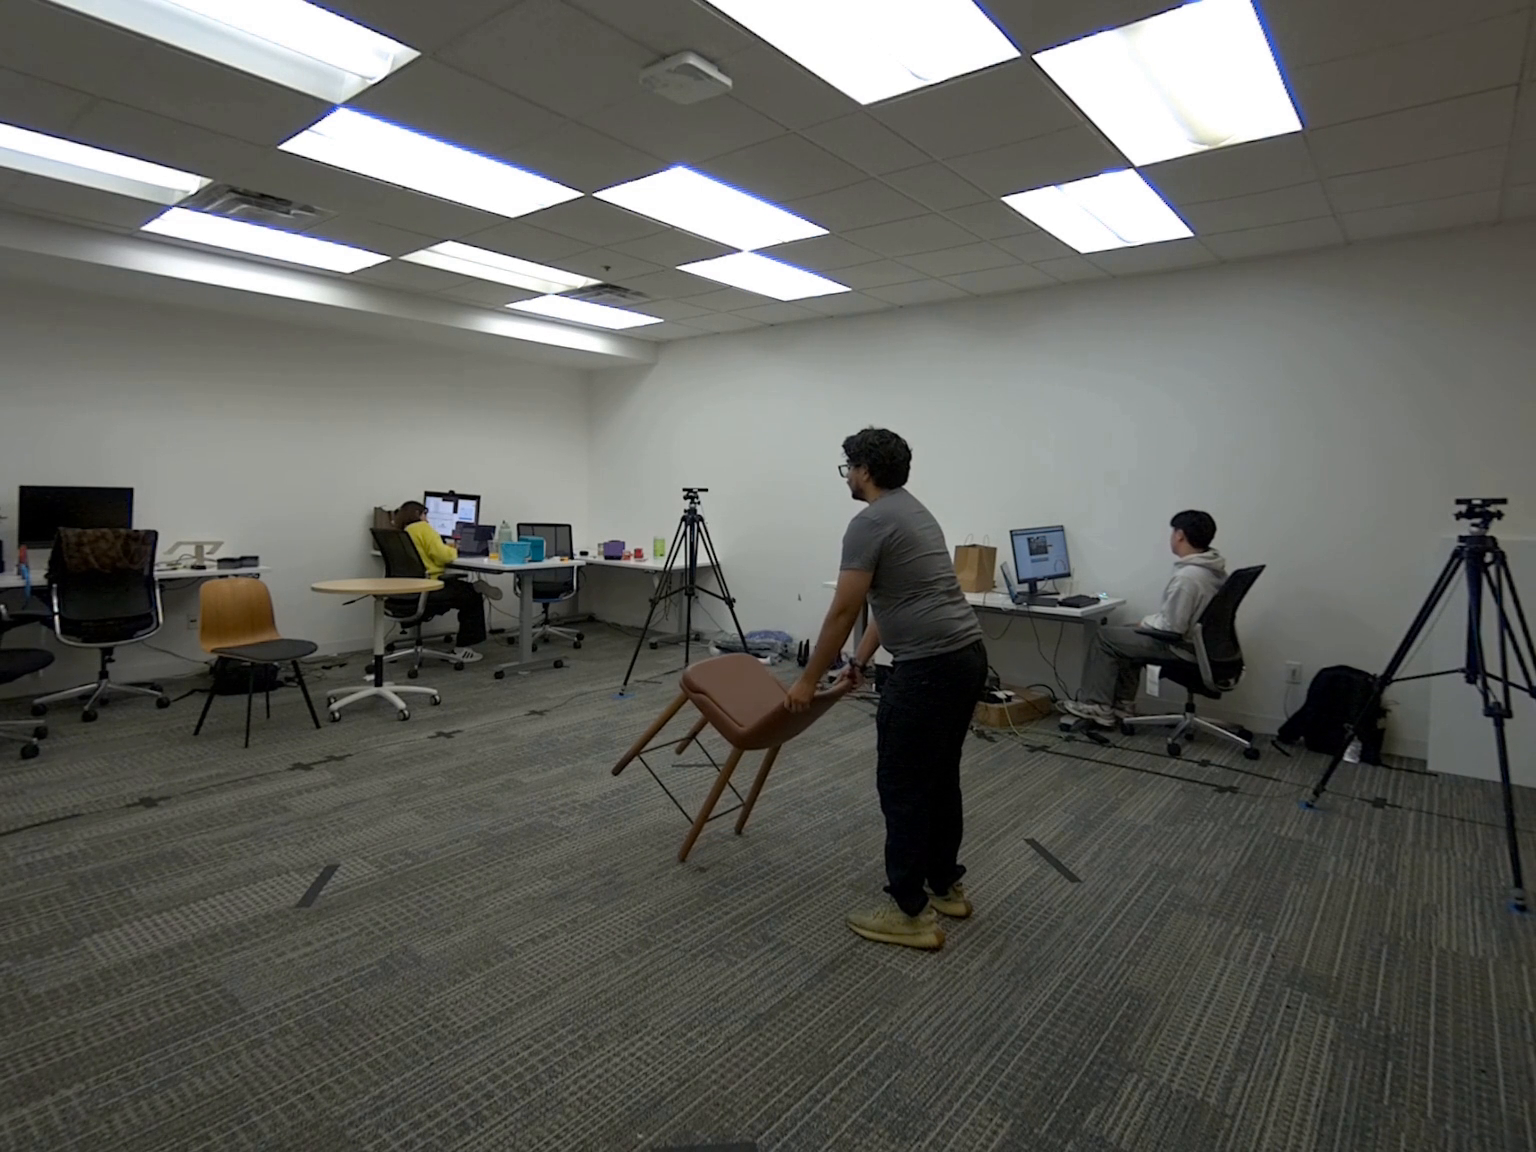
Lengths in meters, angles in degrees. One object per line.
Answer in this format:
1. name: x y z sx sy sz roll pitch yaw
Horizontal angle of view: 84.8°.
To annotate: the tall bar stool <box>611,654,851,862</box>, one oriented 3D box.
1. tall bar stool: -0.150 0.582 3.239 0.484 0.885 0.443 47 27 26
